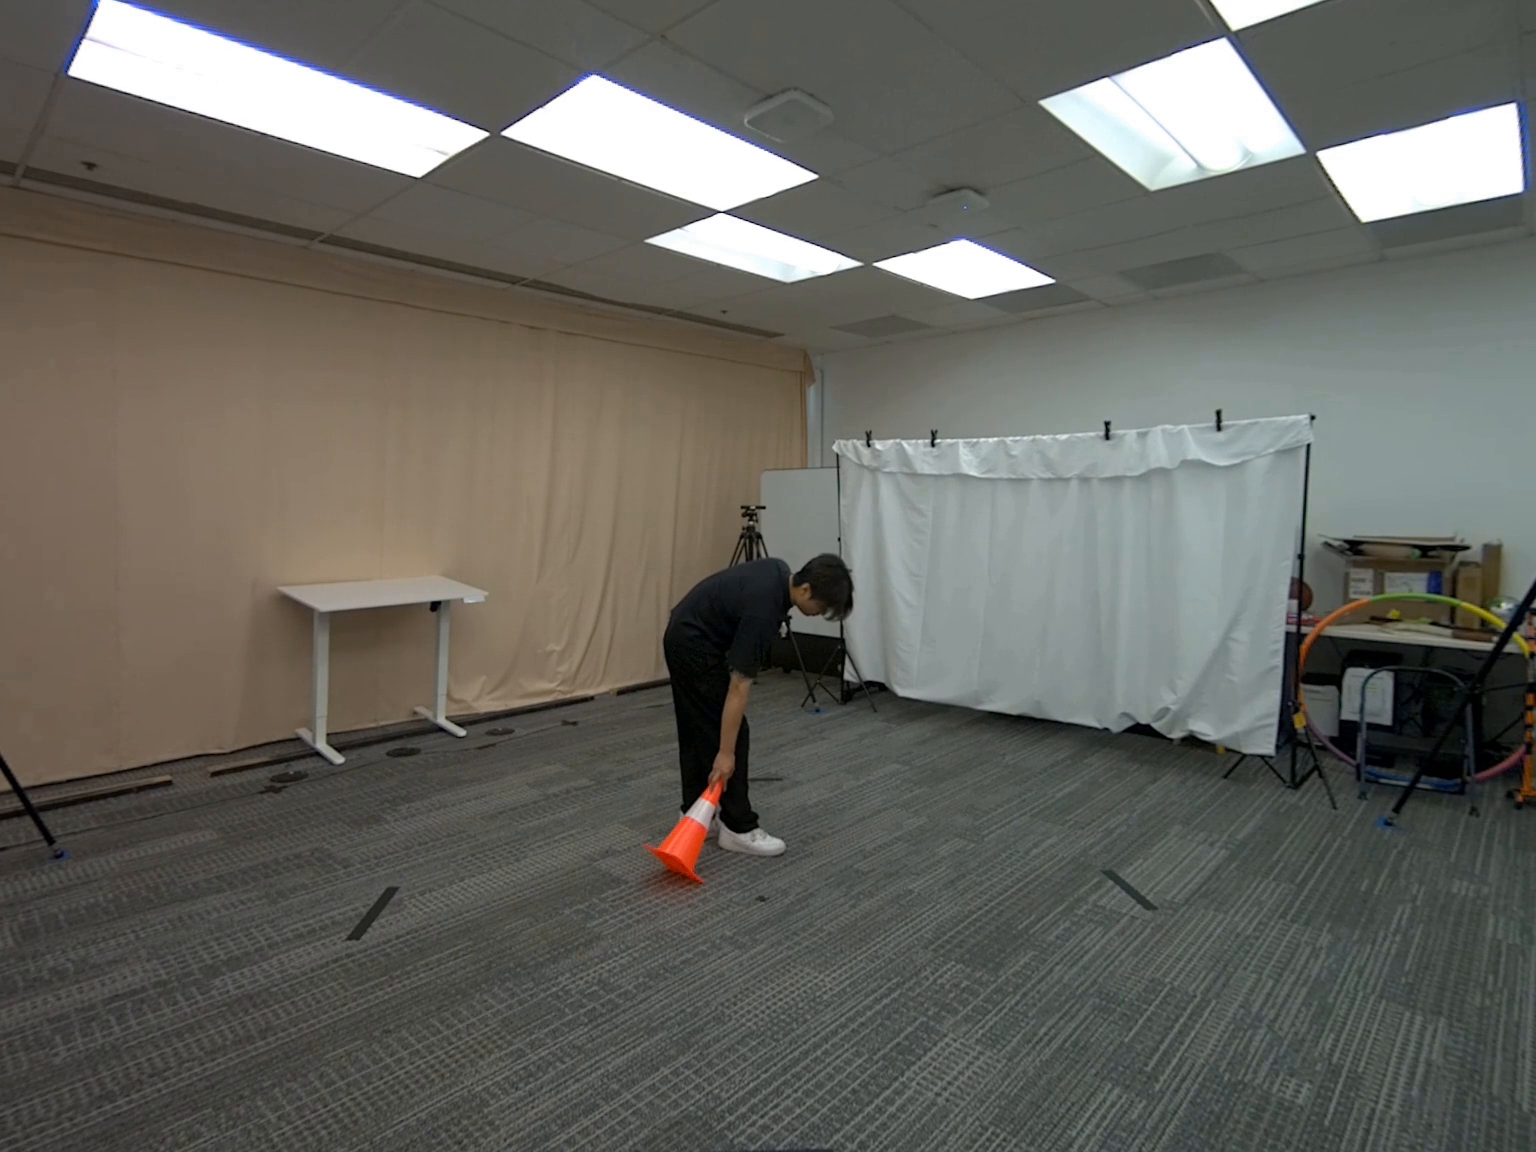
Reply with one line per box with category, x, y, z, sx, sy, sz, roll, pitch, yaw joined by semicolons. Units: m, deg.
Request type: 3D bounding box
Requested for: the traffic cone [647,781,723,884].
traffic cone;-0.267;0.918;3.206;0.210;0.384;0.198;4;-38;38
